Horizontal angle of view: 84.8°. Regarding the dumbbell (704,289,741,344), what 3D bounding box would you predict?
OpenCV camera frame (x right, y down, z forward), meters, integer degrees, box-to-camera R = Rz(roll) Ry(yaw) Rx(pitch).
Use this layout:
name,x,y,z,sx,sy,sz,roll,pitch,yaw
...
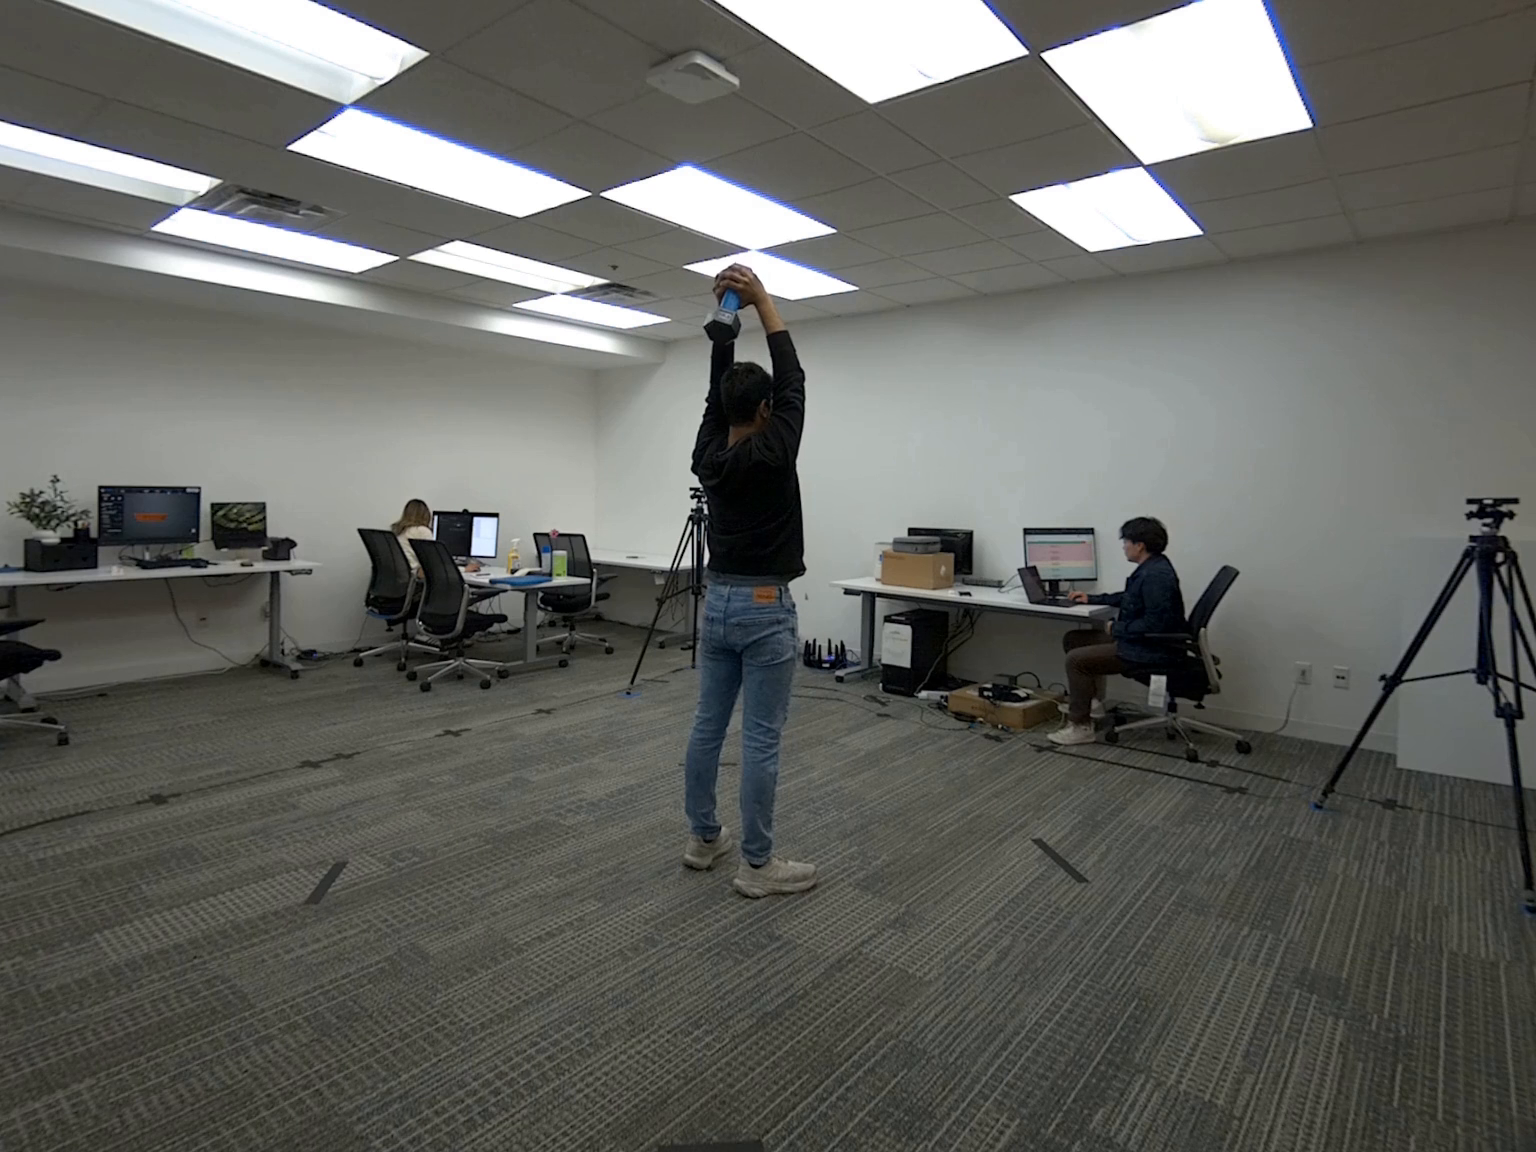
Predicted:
name,x,y,z,sx,sy,sz,roll,pitch,yaw
dumbbell,-0.143,-0.928,2.917,0.105,0.298,0.125,30,-31,-29
